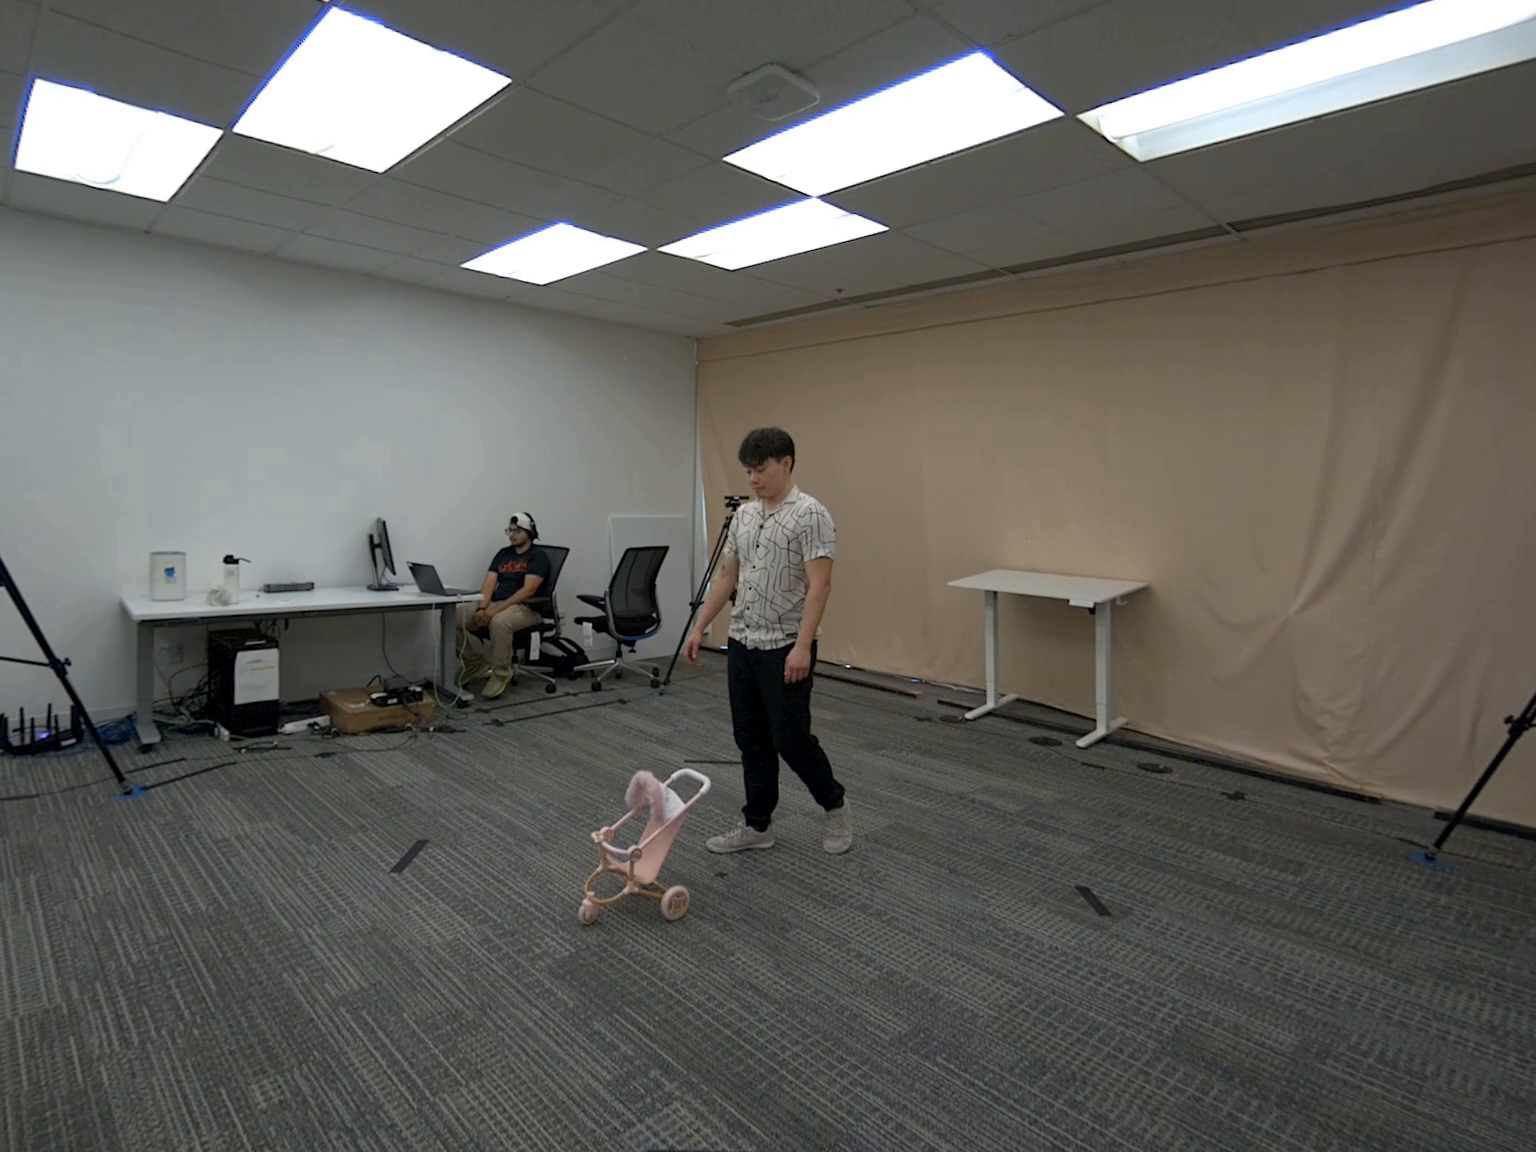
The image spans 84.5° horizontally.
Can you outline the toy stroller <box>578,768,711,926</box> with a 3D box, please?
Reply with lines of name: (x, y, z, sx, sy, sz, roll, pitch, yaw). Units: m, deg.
toy stroller: (-0.433, 0.900, 2.822, 0.332, 0.536, 0.288, 19, -7, -33)
